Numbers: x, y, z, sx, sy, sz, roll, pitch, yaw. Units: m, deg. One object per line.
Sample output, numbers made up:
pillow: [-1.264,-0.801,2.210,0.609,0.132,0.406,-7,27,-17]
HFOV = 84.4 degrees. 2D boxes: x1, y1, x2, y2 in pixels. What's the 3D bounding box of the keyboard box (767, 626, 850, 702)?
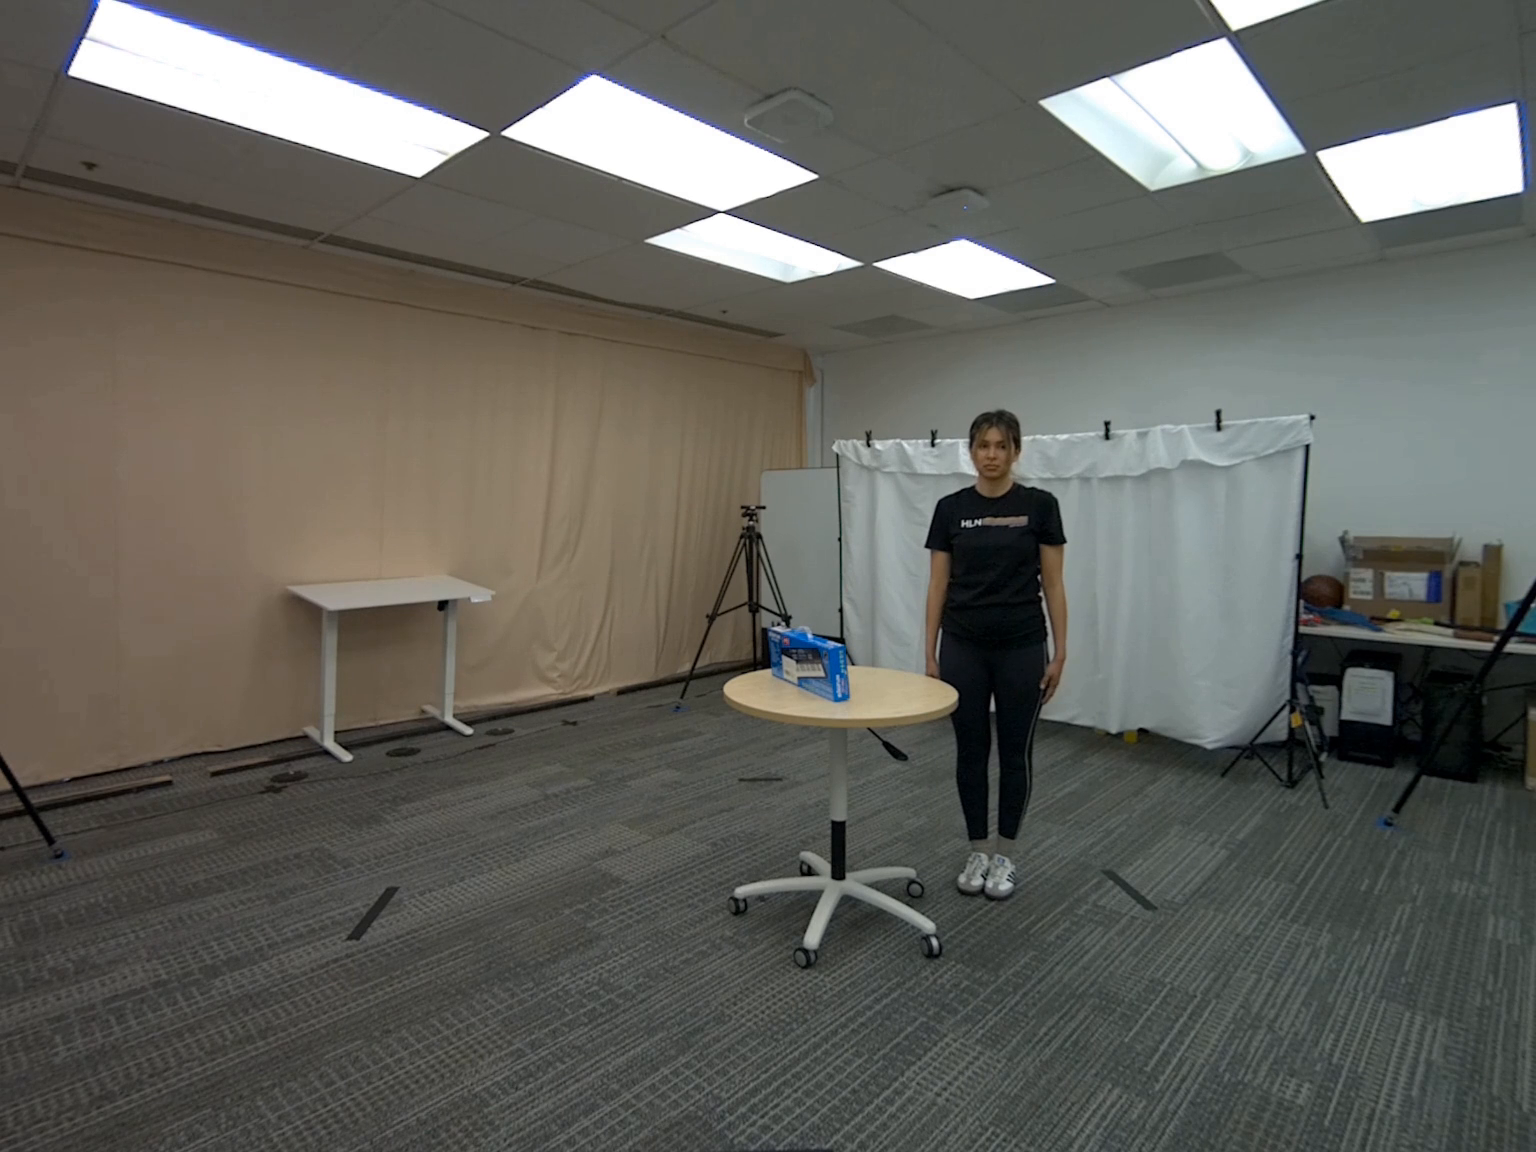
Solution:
keyboard box: [0.134,0.287,2.811,0.058,0.175,0.448,-6,8,-24]
